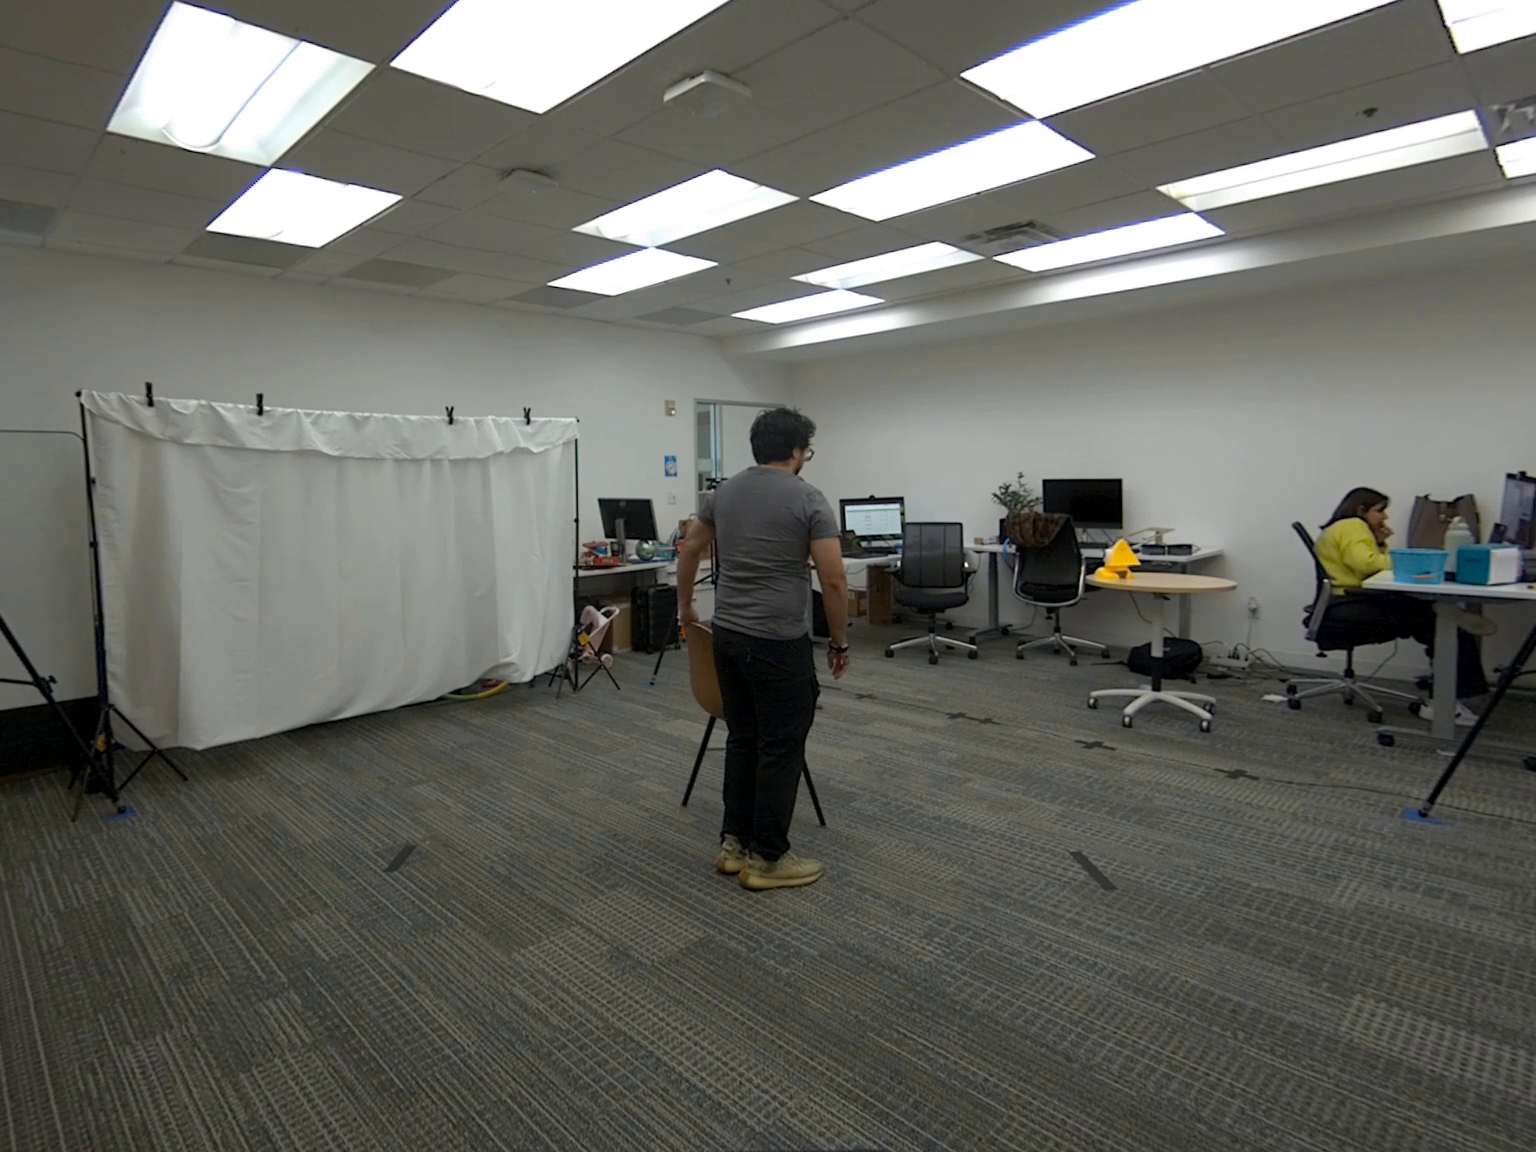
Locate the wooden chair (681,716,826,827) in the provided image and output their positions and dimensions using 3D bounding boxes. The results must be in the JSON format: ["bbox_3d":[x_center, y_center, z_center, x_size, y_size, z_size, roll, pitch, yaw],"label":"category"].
[{"bbox_3d":[-0.070,0.571,3.516,0.514,0.873,0.489,-7,6,-24],"label":"wooden chair"}]
